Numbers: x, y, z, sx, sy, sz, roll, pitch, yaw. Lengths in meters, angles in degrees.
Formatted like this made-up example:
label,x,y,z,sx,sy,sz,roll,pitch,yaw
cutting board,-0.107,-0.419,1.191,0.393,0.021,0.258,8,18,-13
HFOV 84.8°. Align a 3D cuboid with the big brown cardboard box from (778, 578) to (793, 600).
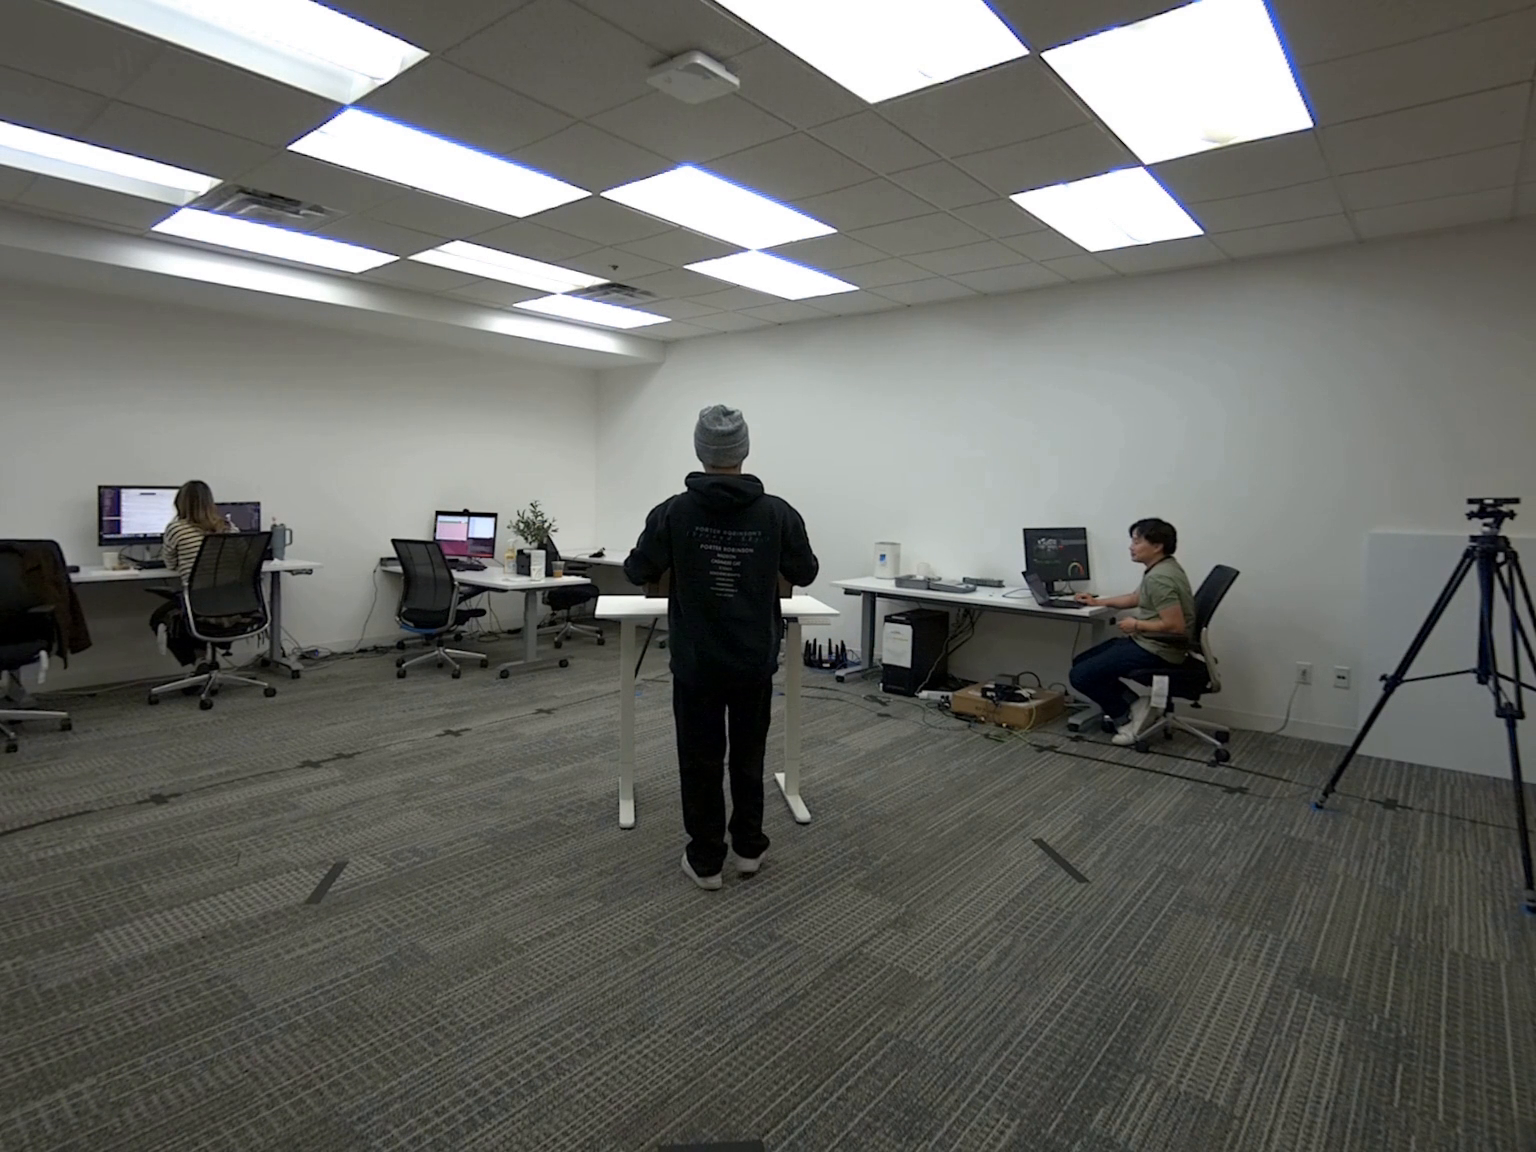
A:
label,x,y,z,sx,sy,sz,roll,pitch,yaw
big brown cardboard box,-0.211,-0.063,3.419,0.586,0.231,0.424,-1,12,-5
